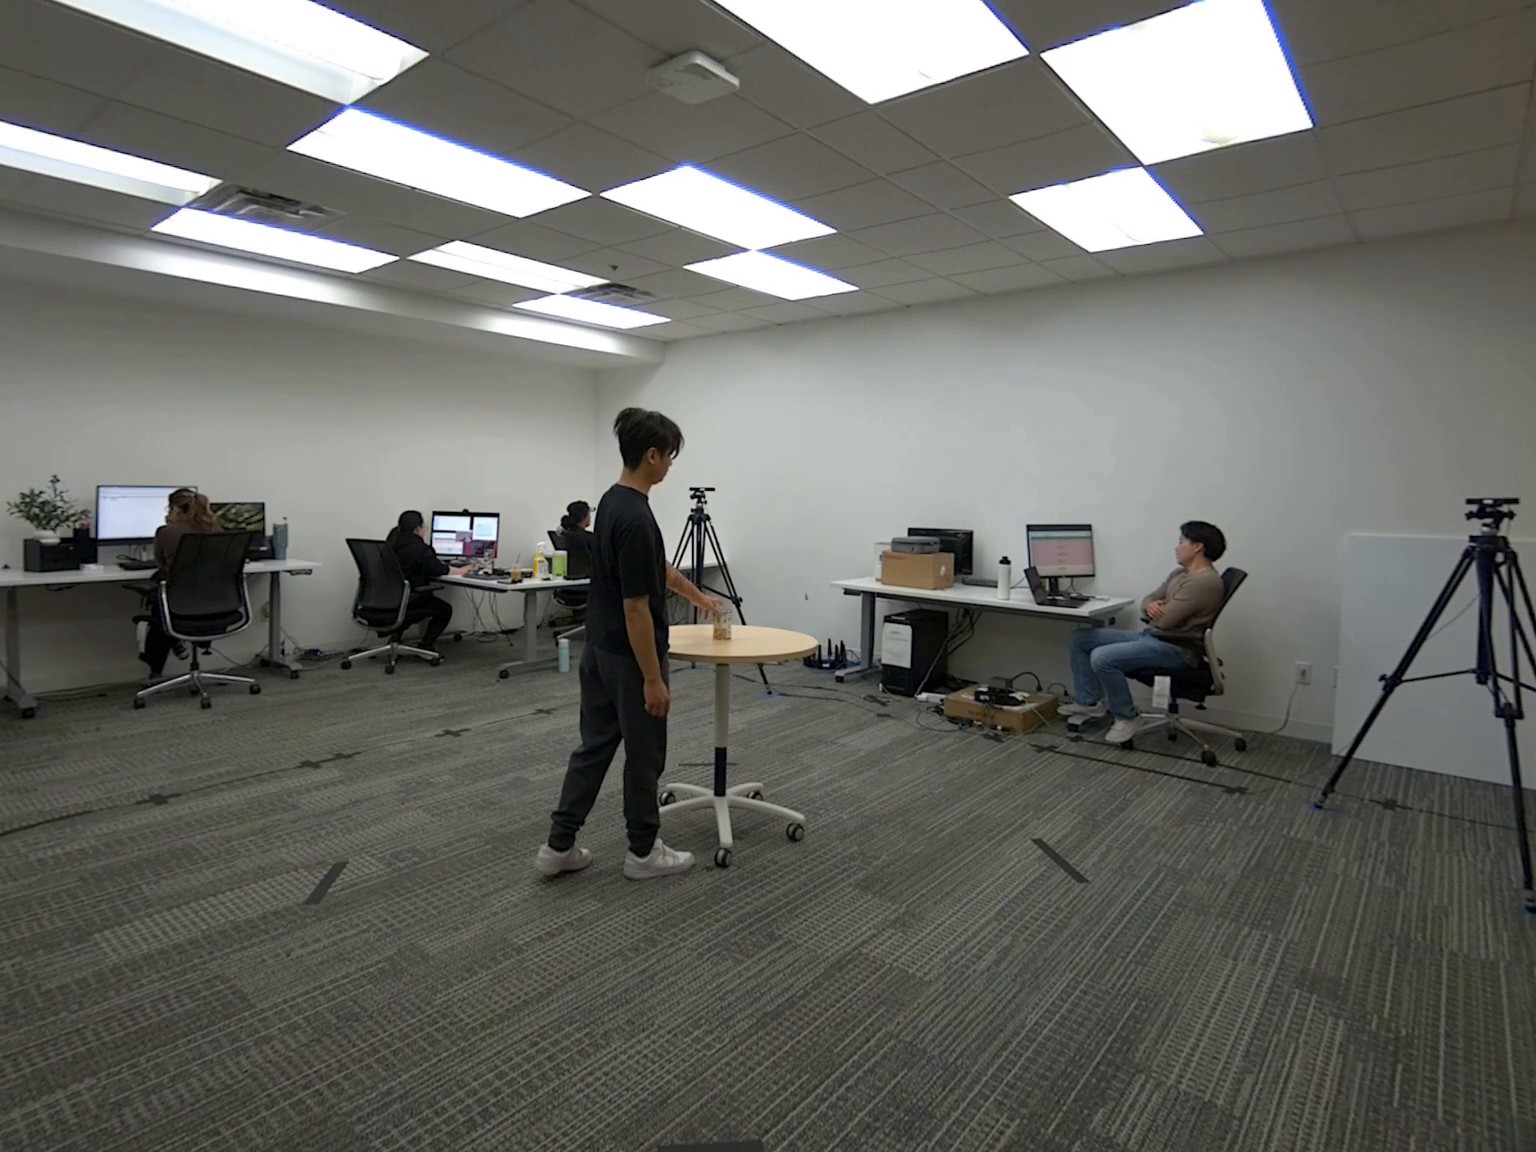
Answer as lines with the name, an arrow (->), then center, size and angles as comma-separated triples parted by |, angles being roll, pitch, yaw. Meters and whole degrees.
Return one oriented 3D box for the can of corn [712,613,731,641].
can of corn -> -0.198, 0.193, 3.450 | 0.074, 0.111, 0.074 | -1, 4, -2
